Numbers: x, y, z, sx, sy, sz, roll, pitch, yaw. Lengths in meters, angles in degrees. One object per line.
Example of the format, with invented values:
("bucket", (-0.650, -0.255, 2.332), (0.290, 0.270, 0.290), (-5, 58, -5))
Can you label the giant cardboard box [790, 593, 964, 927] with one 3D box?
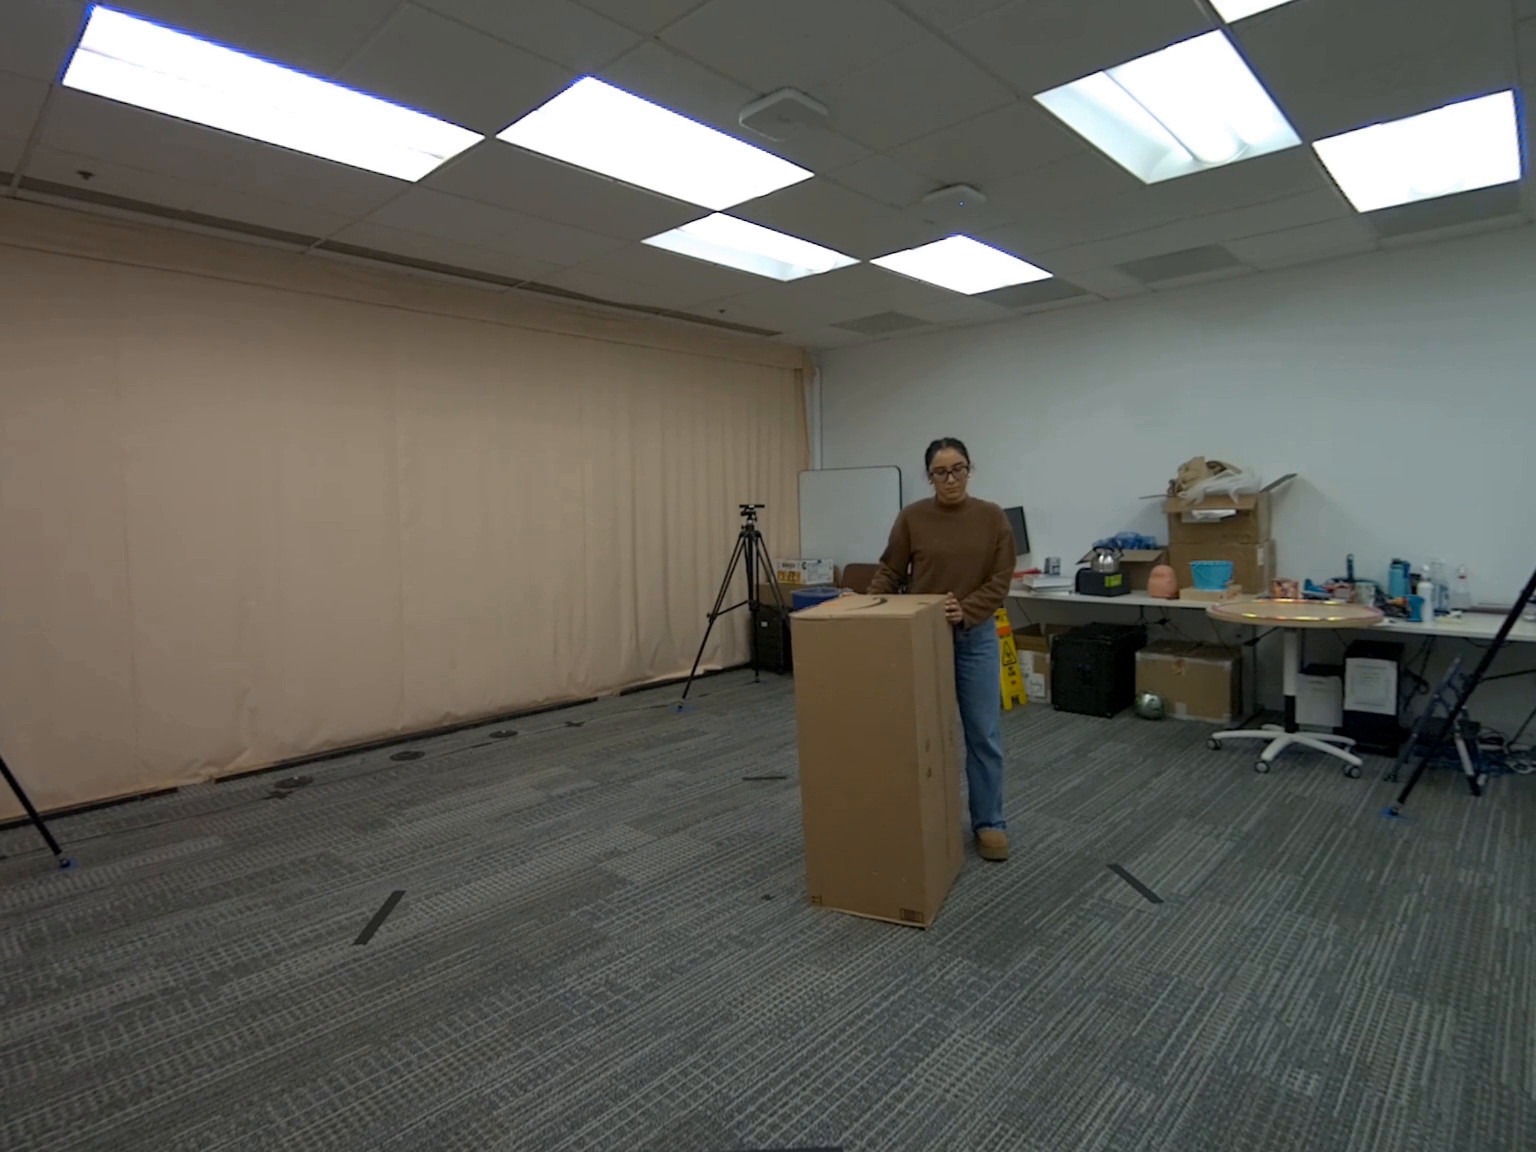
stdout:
("giant cardboard box", (0.409, 0.612, 3.045), (0.437, 1.024, 0.564), (-2, 3, 27))
